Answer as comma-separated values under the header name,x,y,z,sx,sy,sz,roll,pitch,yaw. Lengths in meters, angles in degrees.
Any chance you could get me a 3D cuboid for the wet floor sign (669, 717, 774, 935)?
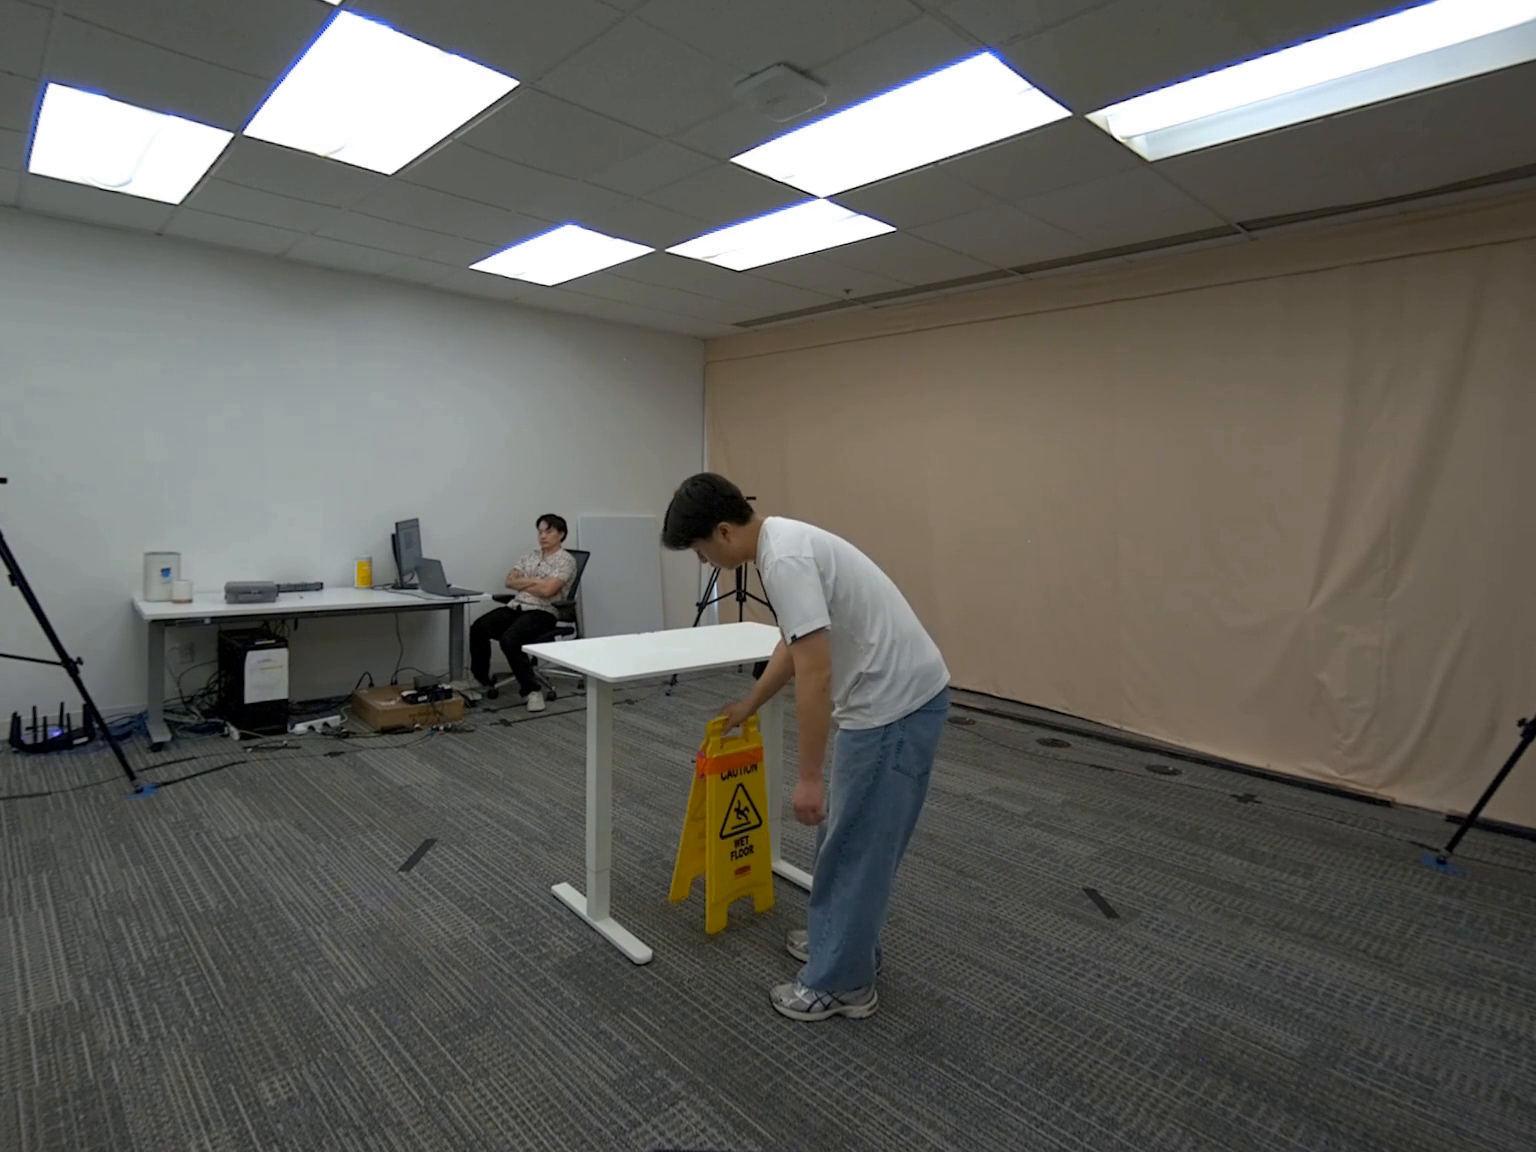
name,x,y,z,sx,sy,sz,roll,pitch,yaw
wet floor sign,-0.139,0.749,2.699,0.276,0.643,0.297,-3,8,-41
